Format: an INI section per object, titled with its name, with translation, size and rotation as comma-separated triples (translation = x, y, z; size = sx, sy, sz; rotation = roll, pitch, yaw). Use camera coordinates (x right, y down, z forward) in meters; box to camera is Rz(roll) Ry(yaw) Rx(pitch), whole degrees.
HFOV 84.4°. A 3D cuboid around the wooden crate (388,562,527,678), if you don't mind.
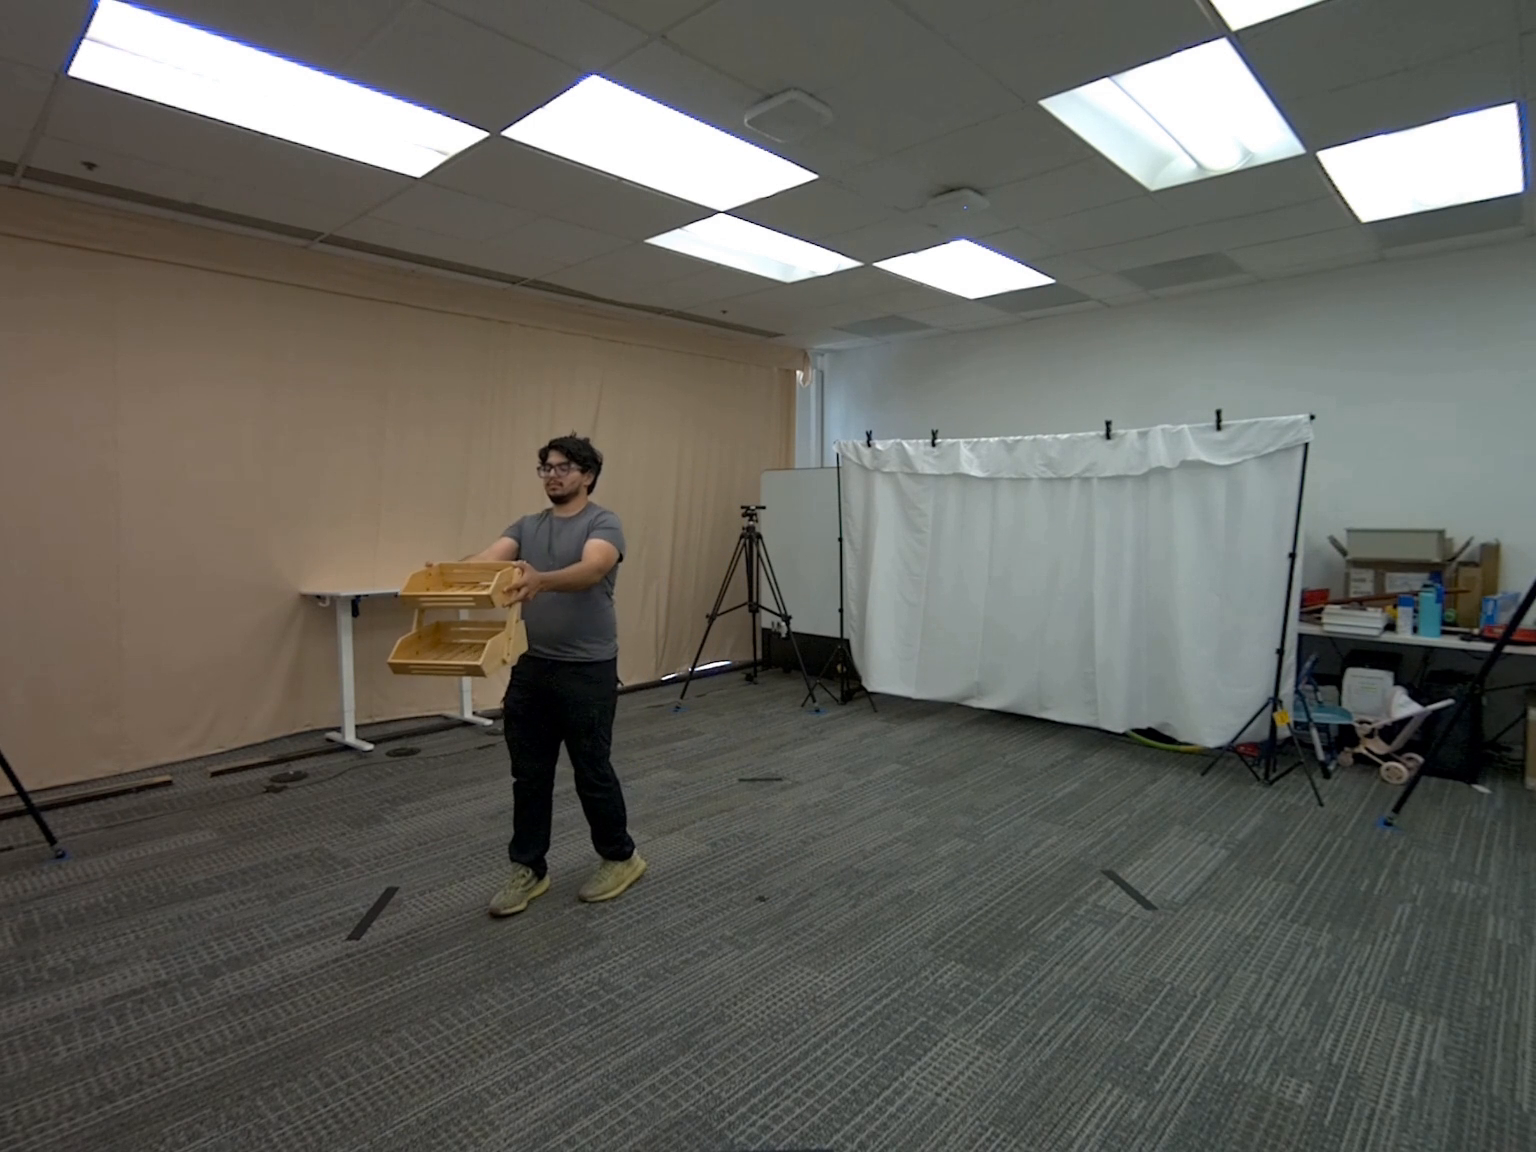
[wooden crate]
translation = -0.891, 0.115, 2.431
size = 0.330, 0.271, 0.299
rotation = 0, 12, 16
